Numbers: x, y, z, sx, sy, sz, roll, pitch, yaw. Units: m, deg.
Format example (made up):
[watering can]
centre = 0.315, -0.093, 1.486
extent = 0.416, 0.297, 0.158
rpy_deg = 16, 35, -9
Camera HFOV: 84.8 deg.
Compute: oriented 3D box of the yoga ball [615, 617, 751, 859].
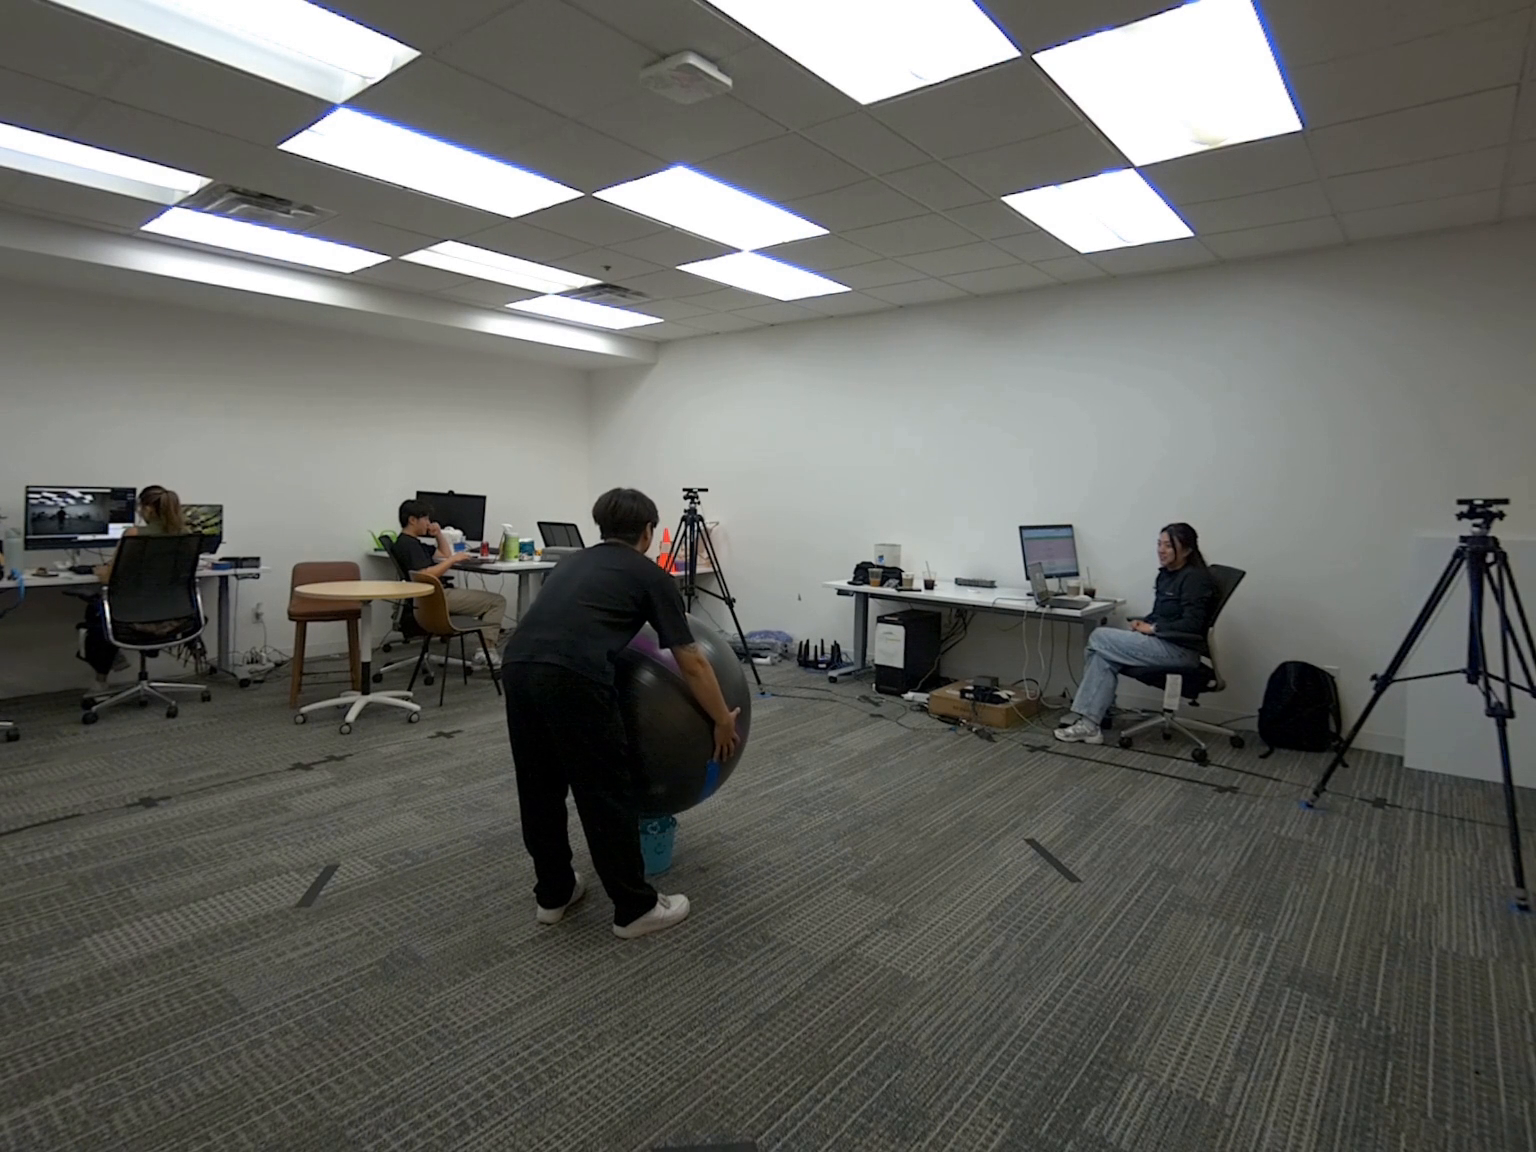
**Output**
[yoga ball]
centre = -0.443, 0.484, 3.136
extent = 0.757, 0.755, 0.762
rpy_deg = 1, 4, -2
